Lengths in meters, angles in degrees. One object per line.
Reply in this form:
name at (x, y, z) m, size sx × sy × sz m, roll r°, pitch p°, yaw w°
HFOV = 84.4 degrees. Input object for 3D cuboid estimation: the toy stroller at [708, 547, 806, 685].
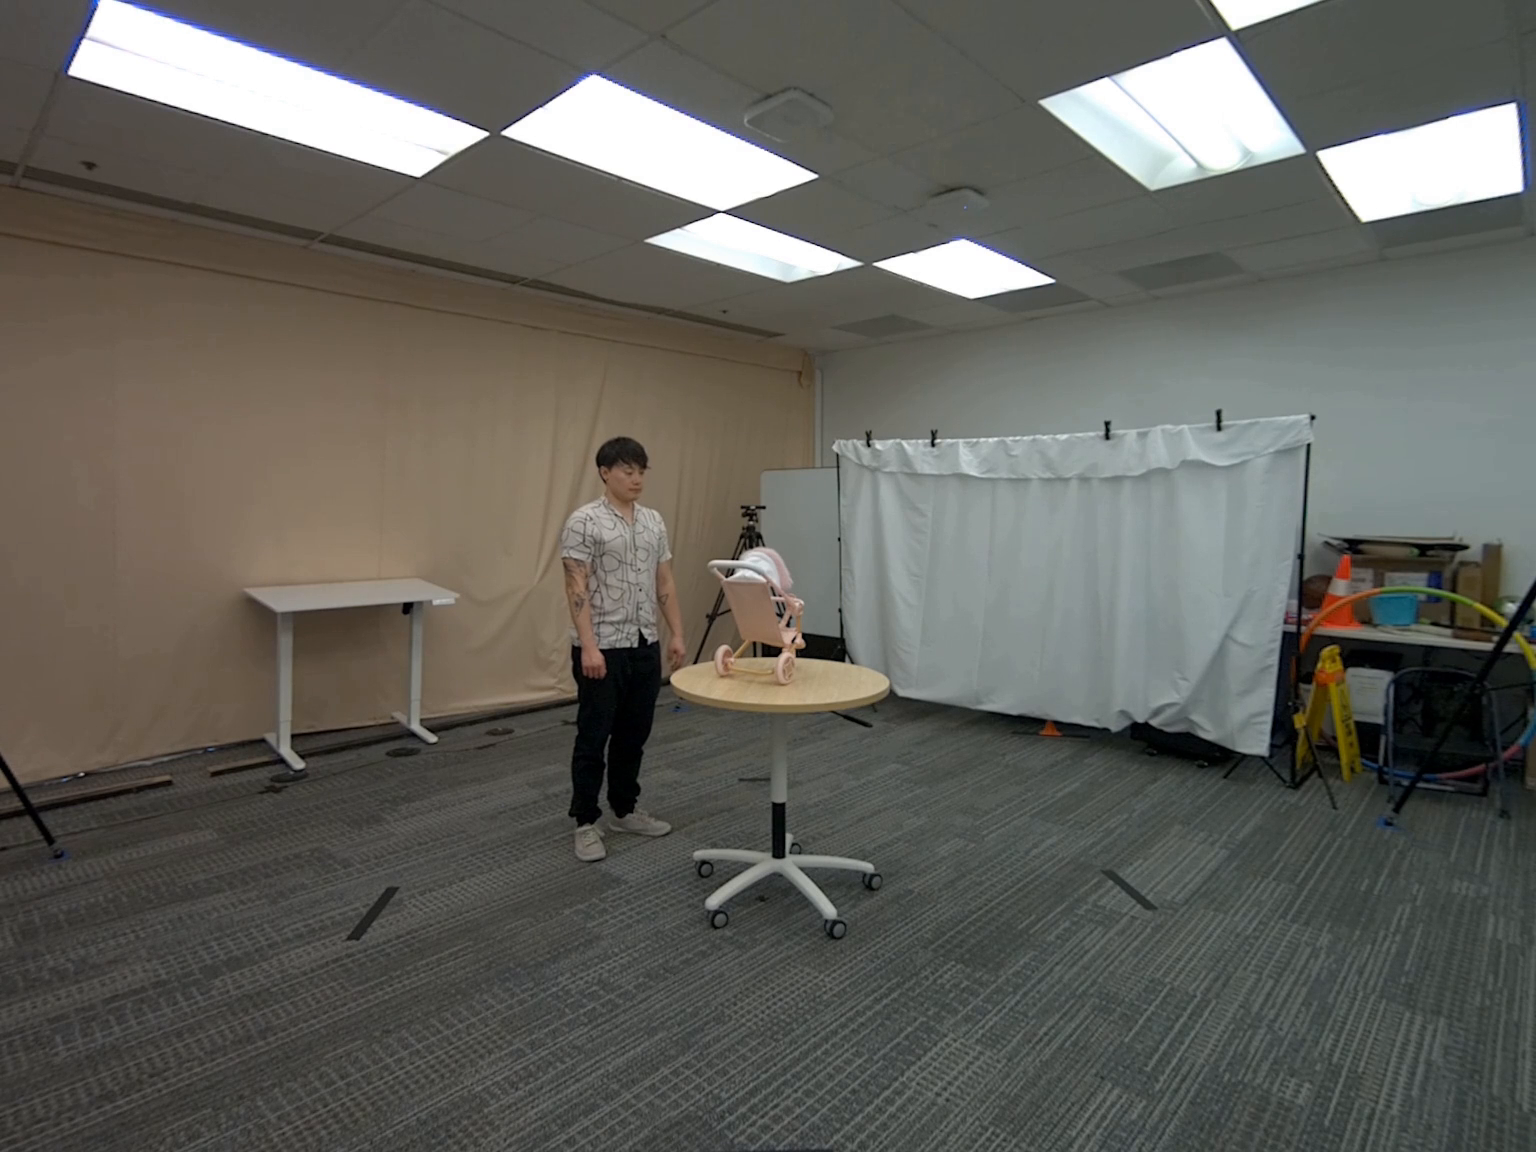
toy stroller at (-0.009, 0.136, 2.966) m, size 0.290 × 0.528 × 0.335 m, roll 3°, pitch 22°, yaw 35°
